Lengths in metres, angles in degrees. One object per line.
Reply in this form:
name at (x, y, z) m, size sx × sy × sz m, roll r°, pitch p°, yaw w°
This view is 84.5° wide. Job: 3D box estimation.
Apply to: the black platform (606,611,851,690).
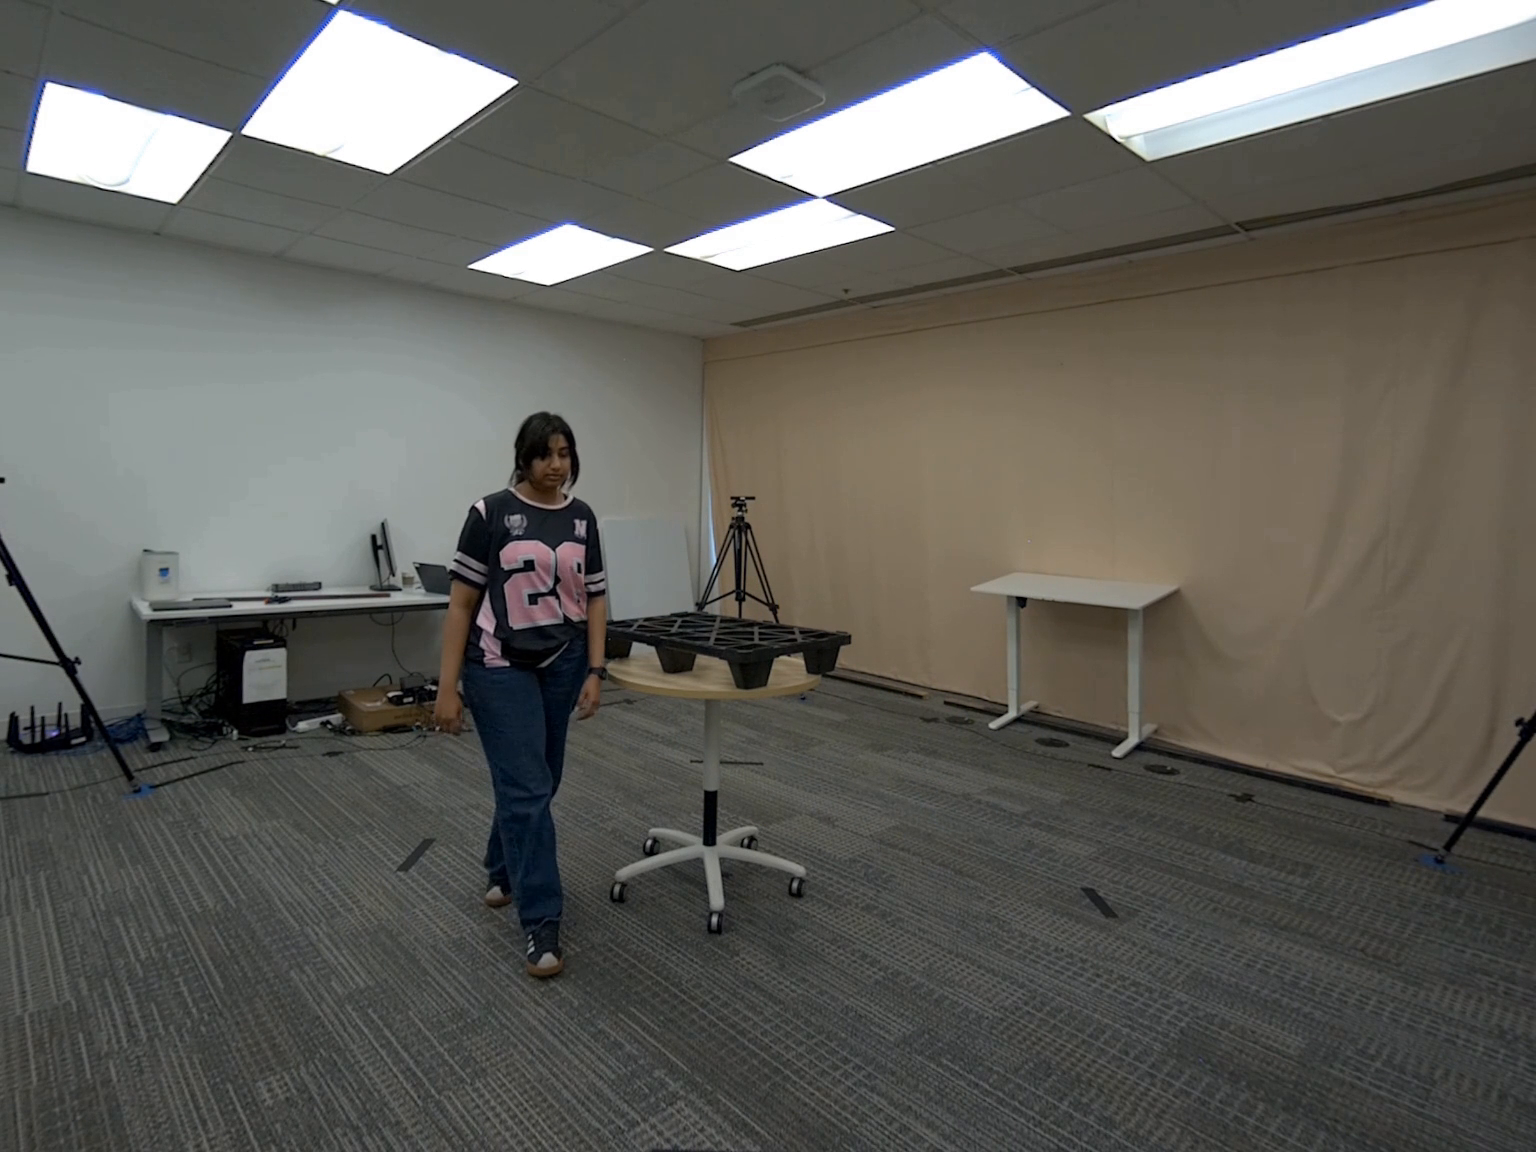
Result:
black platform at (-0.201, 0.261, 3.069) m, size 0.826 × 0.143 × 0.591 m, roll 5°, pitch 6°, yaw 42°
